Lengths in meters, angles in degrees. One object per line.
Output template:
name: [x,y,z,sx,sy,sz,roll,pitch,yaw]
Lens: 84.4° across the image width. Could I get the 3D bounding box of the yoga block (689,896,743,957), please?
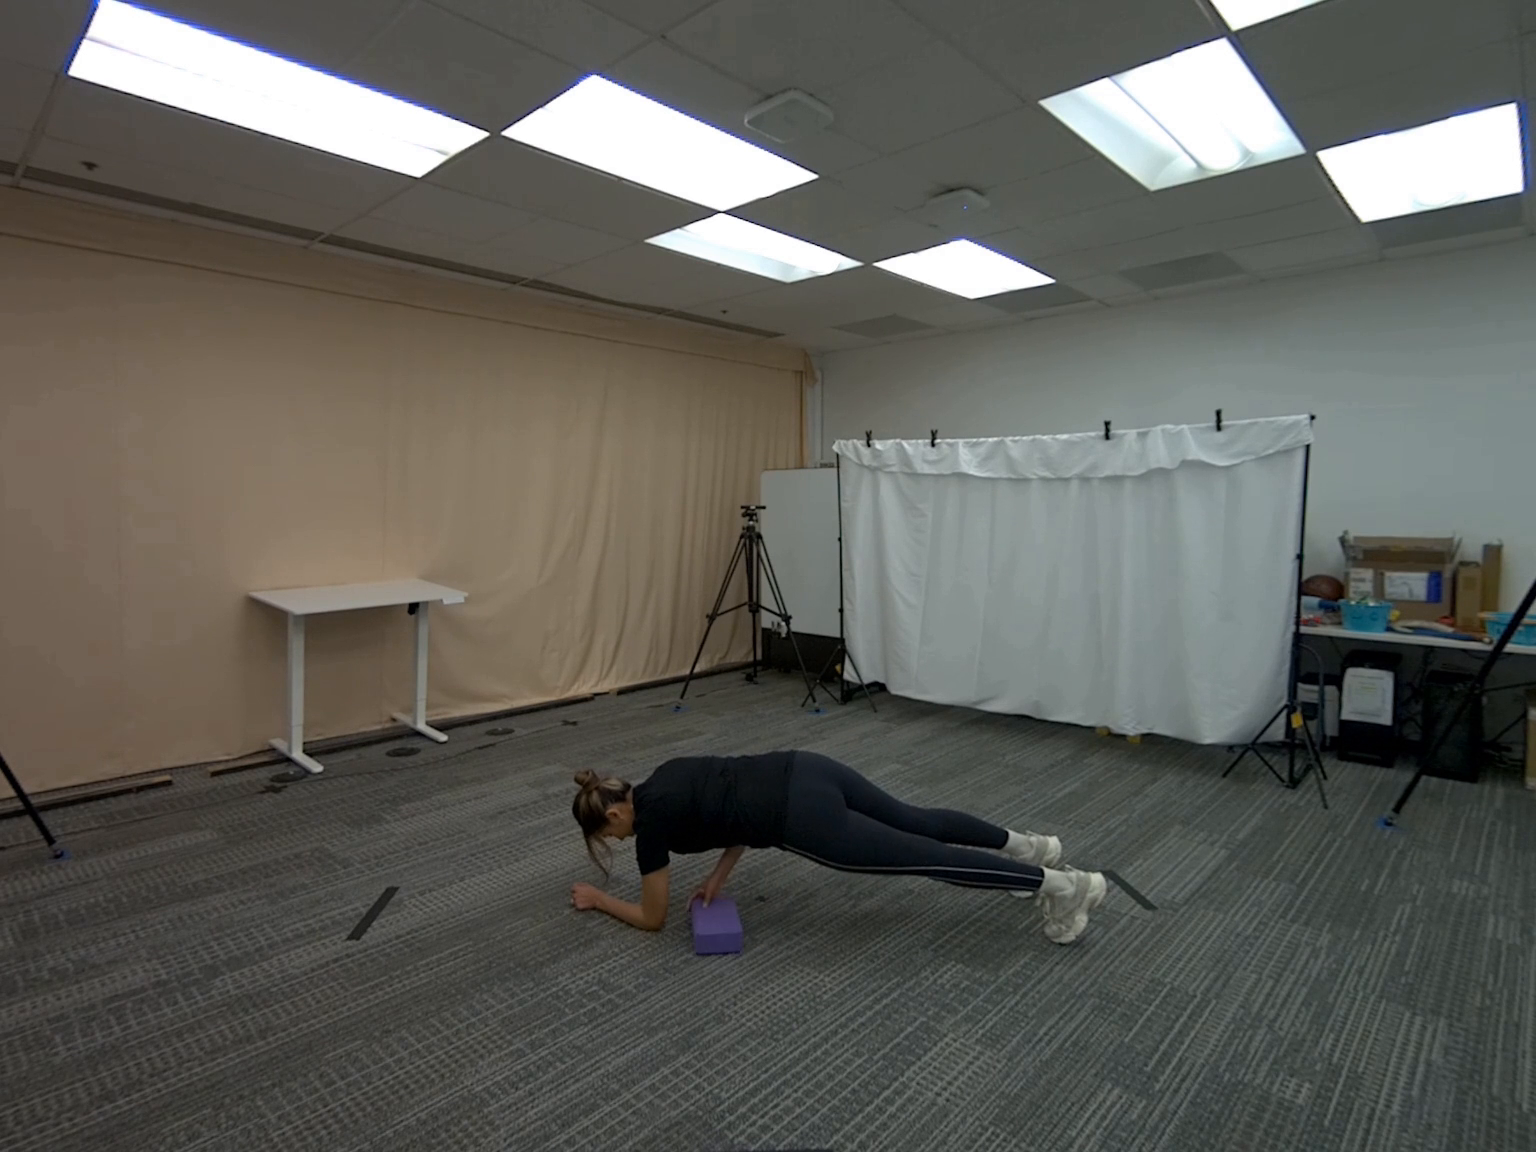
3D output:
yoga block: [-0.168,1.127,2.723,0.148,0.076,0.231,-2,3,-7]
